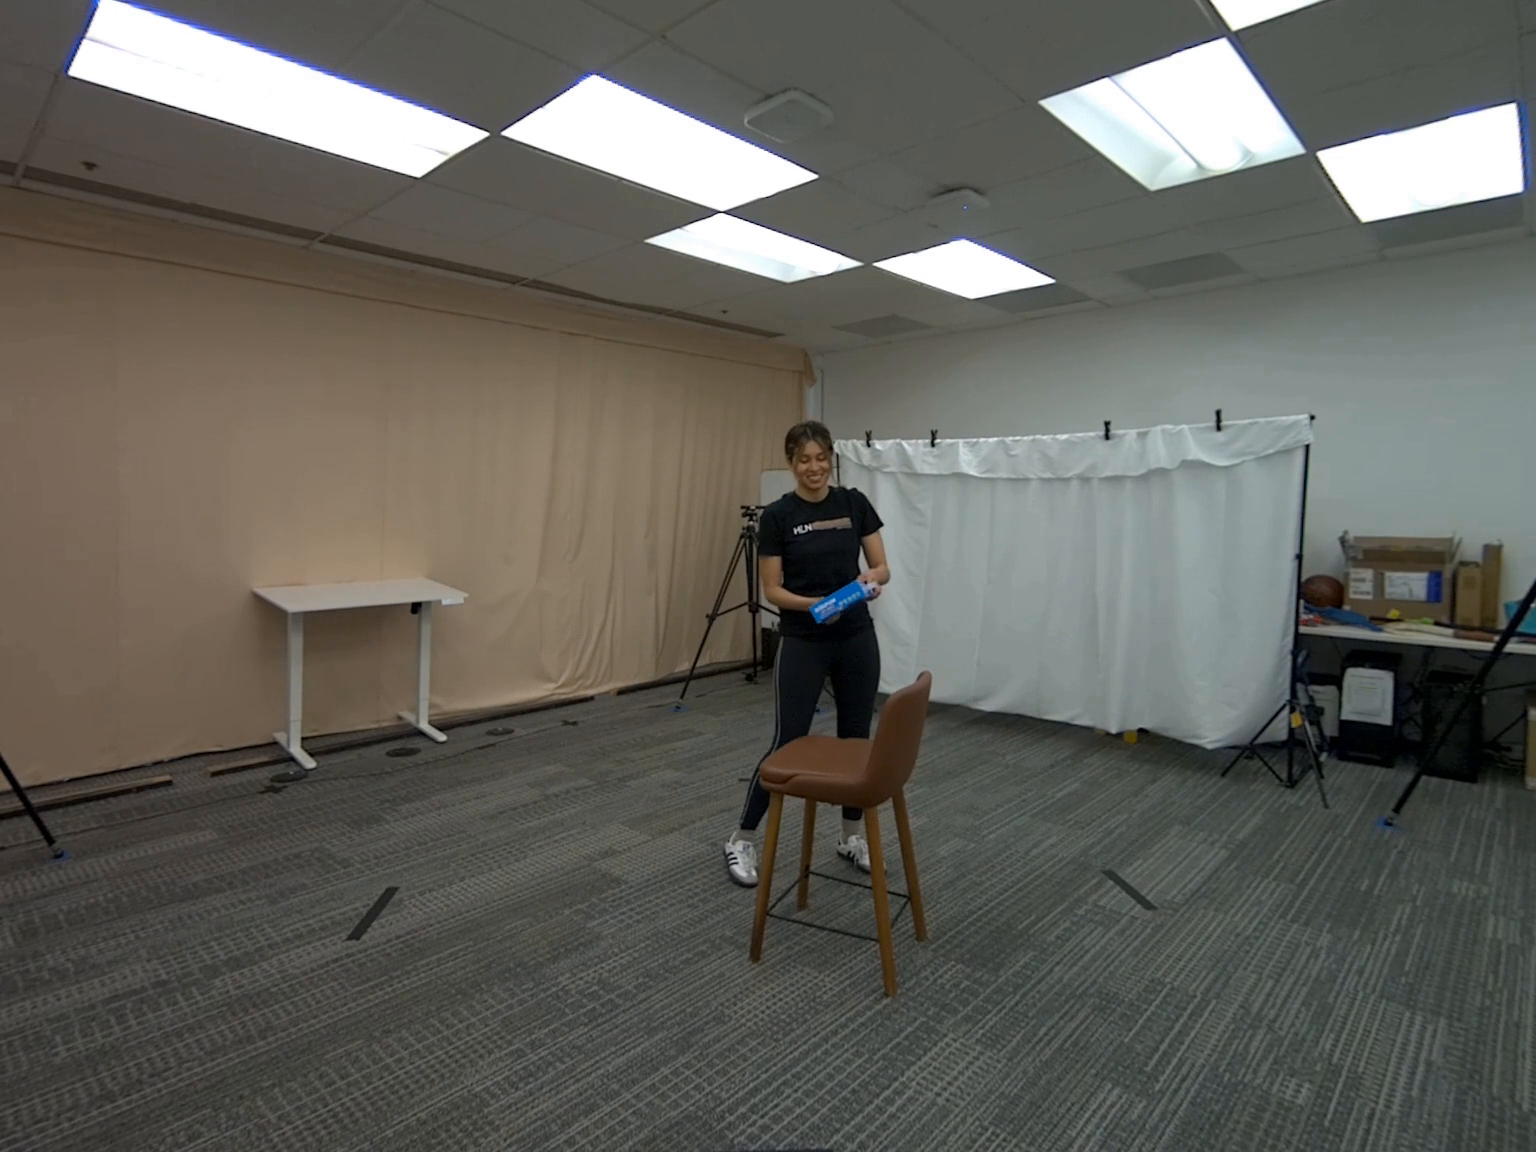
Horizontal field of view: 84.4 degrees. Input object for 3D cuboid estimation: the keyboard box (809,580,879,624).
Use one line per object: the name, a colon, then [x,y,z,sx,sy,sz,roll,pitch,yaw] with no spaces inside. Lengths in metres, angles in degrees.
keyboard box: [0.248,0.084,2.780,0.177,0.059,0.430,-31,-6,9]
